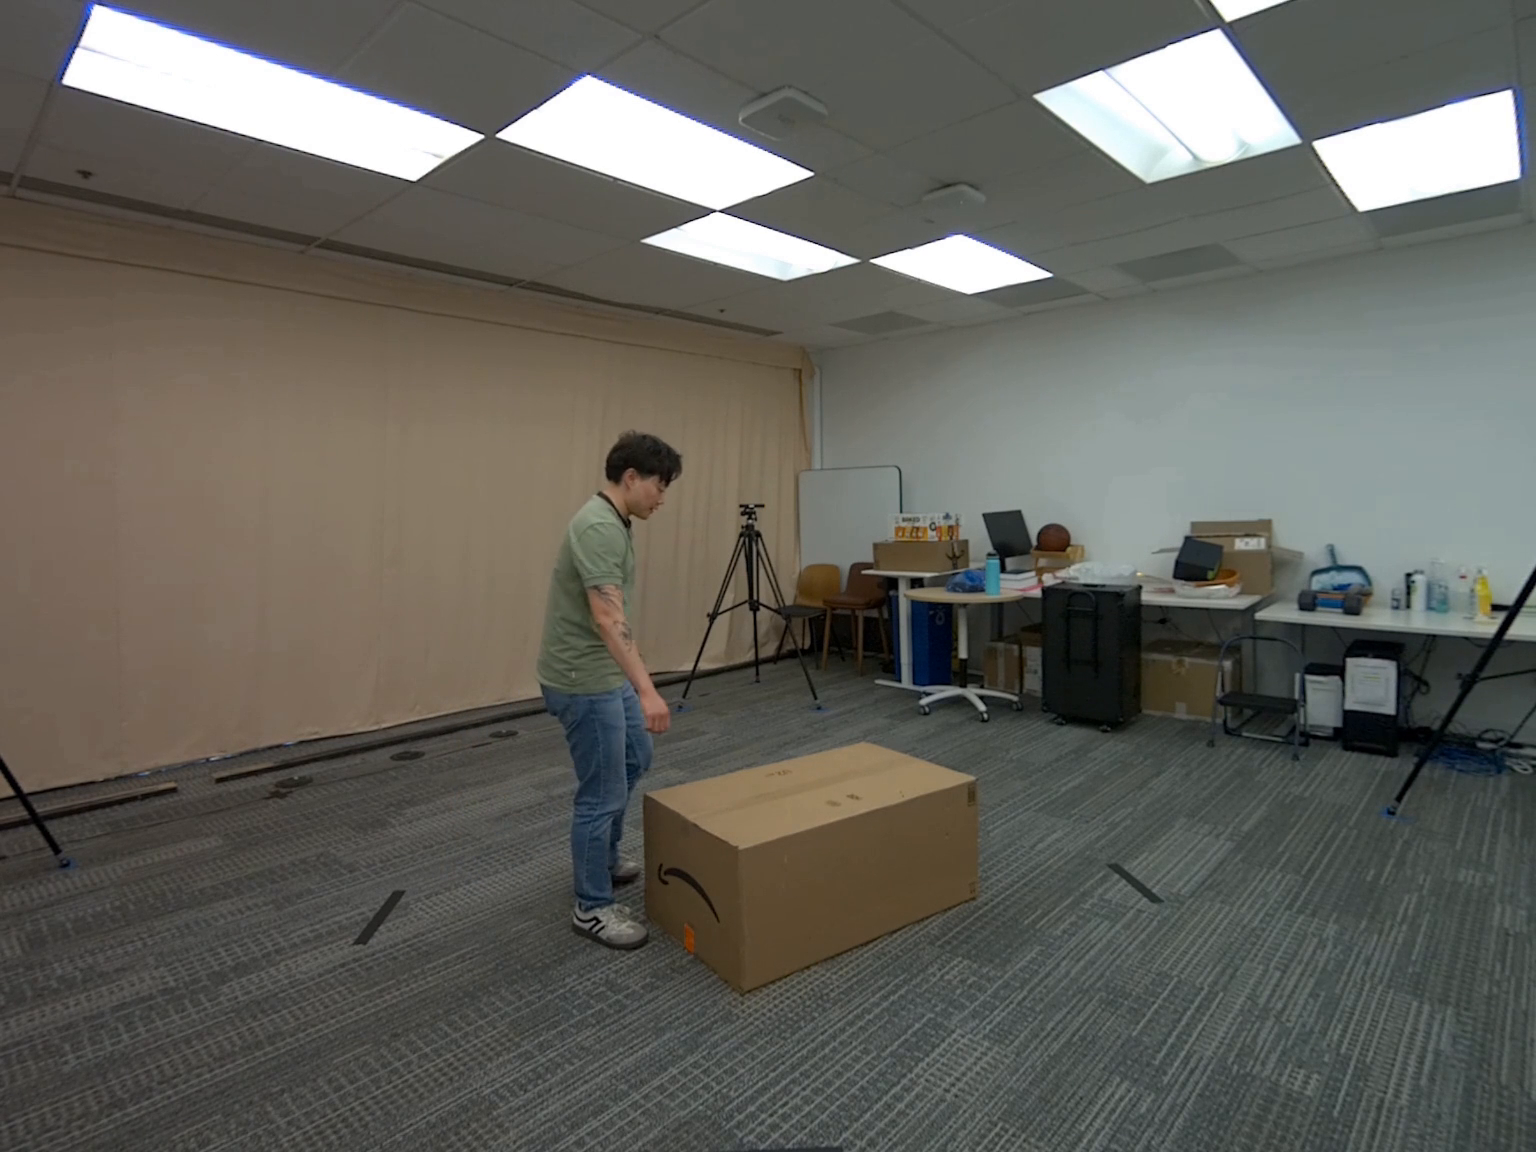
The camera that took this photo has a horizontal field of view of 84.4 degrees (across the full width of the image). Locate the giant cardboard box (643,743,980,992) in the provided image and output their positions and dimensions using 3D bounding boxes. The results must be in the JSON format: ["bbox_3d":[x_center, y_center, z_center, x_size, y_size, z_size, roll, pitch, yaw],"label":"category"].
[{"bbox_3d":[0.163,0.933,2.895,0.997,0.425,0.596,-4,5,-35],"label":"giant cardboard box"}]
